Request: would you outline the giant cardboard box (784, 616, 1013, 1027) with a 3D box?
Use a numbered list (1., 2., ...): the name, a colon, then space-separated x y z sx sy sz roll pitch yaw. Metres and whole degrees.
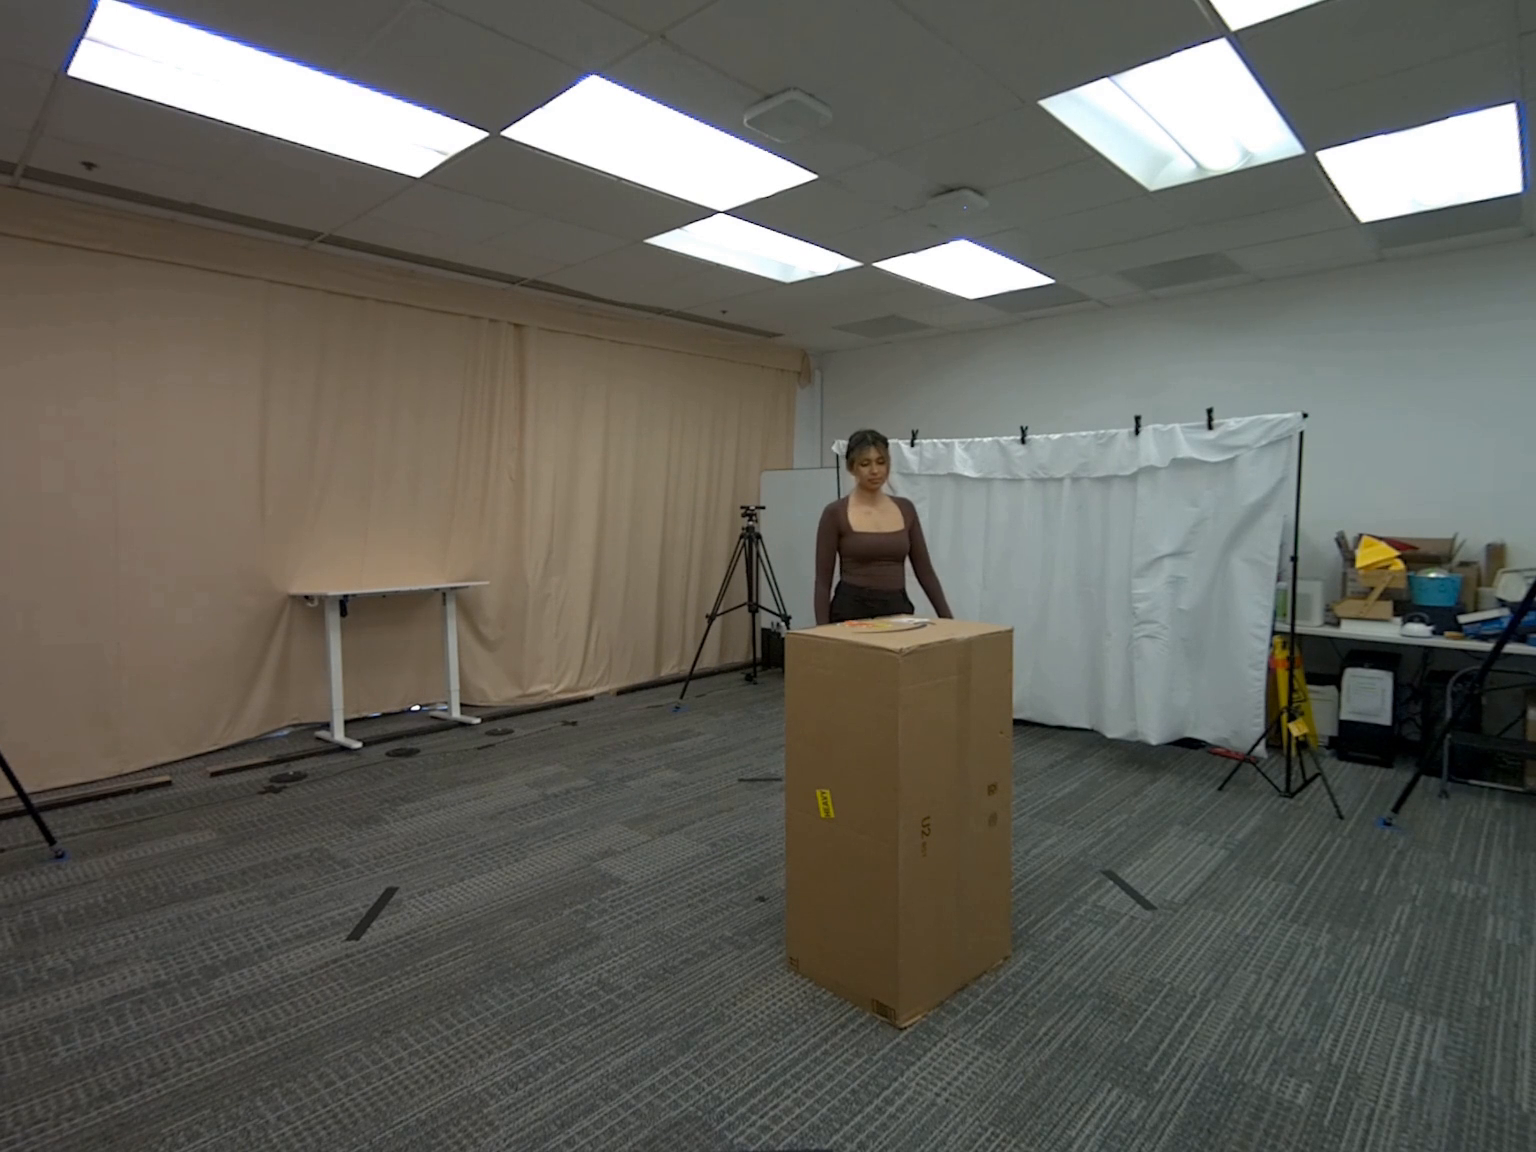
1. giant cardboard box: 0.403 0.669 2.550 0.566 1.025 0.461 -3 3 -41
